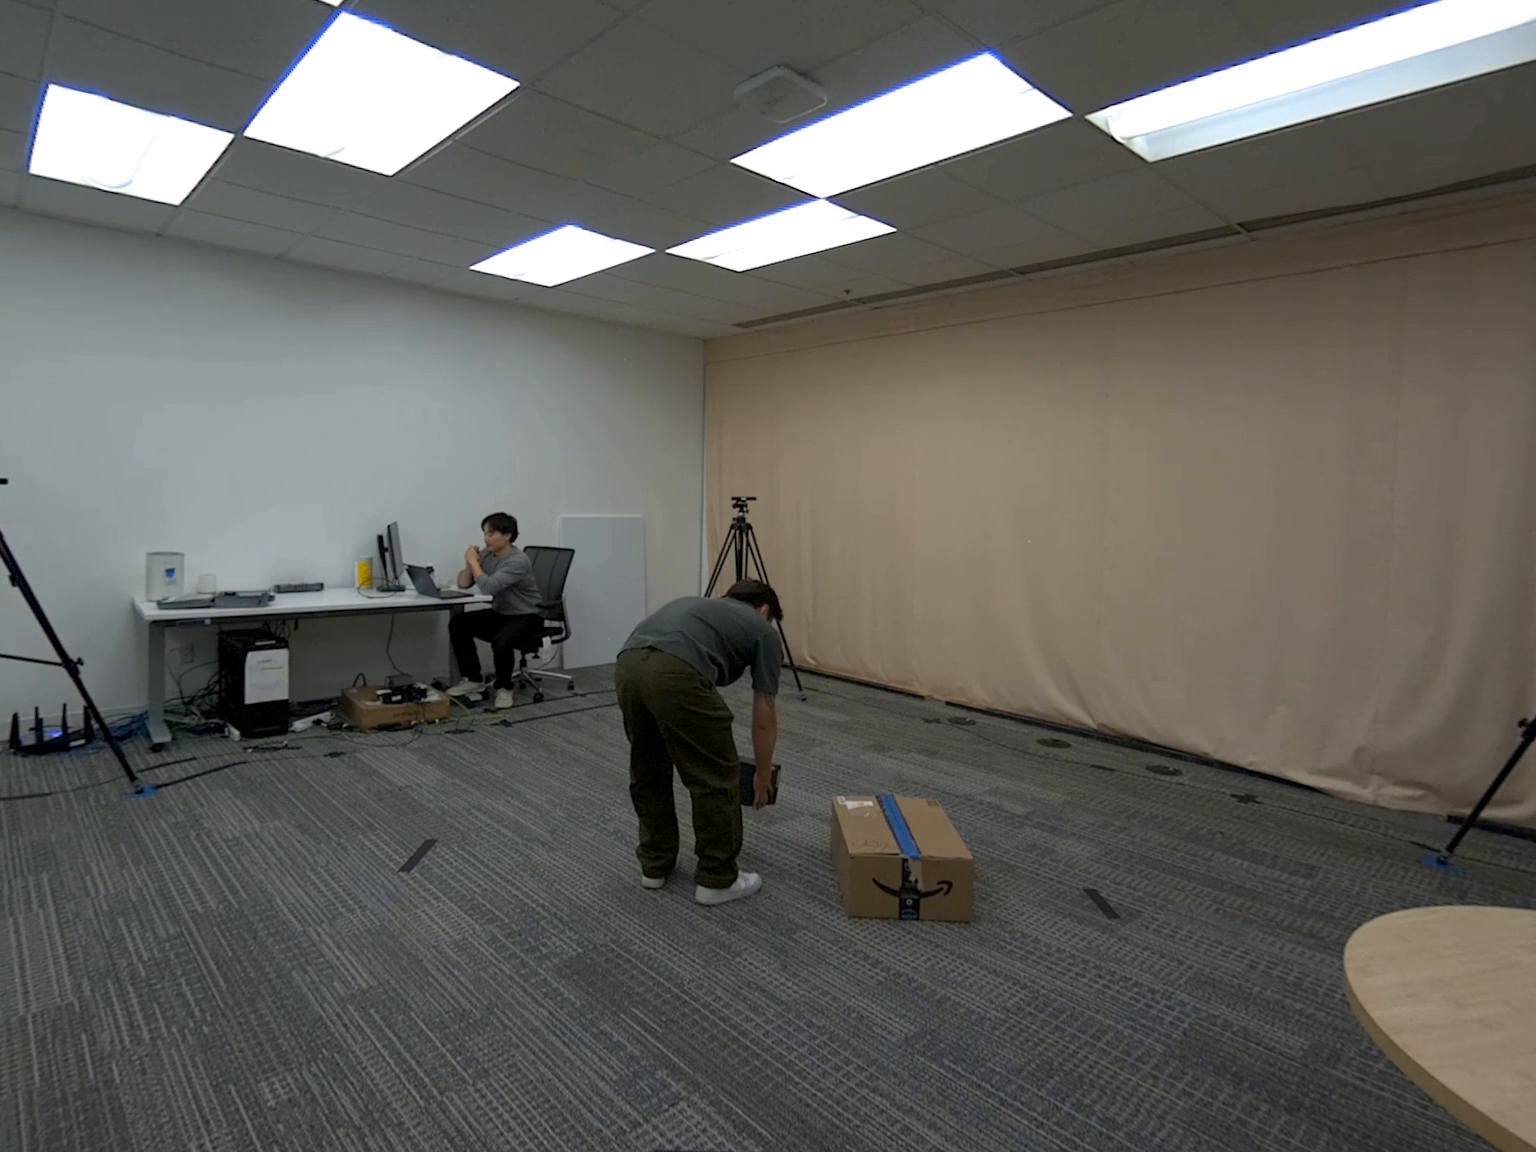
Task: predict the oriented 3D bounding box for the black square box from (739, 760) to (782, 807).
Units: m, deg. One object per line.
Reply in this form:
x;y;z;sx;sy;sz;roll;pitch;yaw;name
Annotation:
-0.104;0.801;3.301;0.233;0.157;0.211;4;-8;31;black square box
